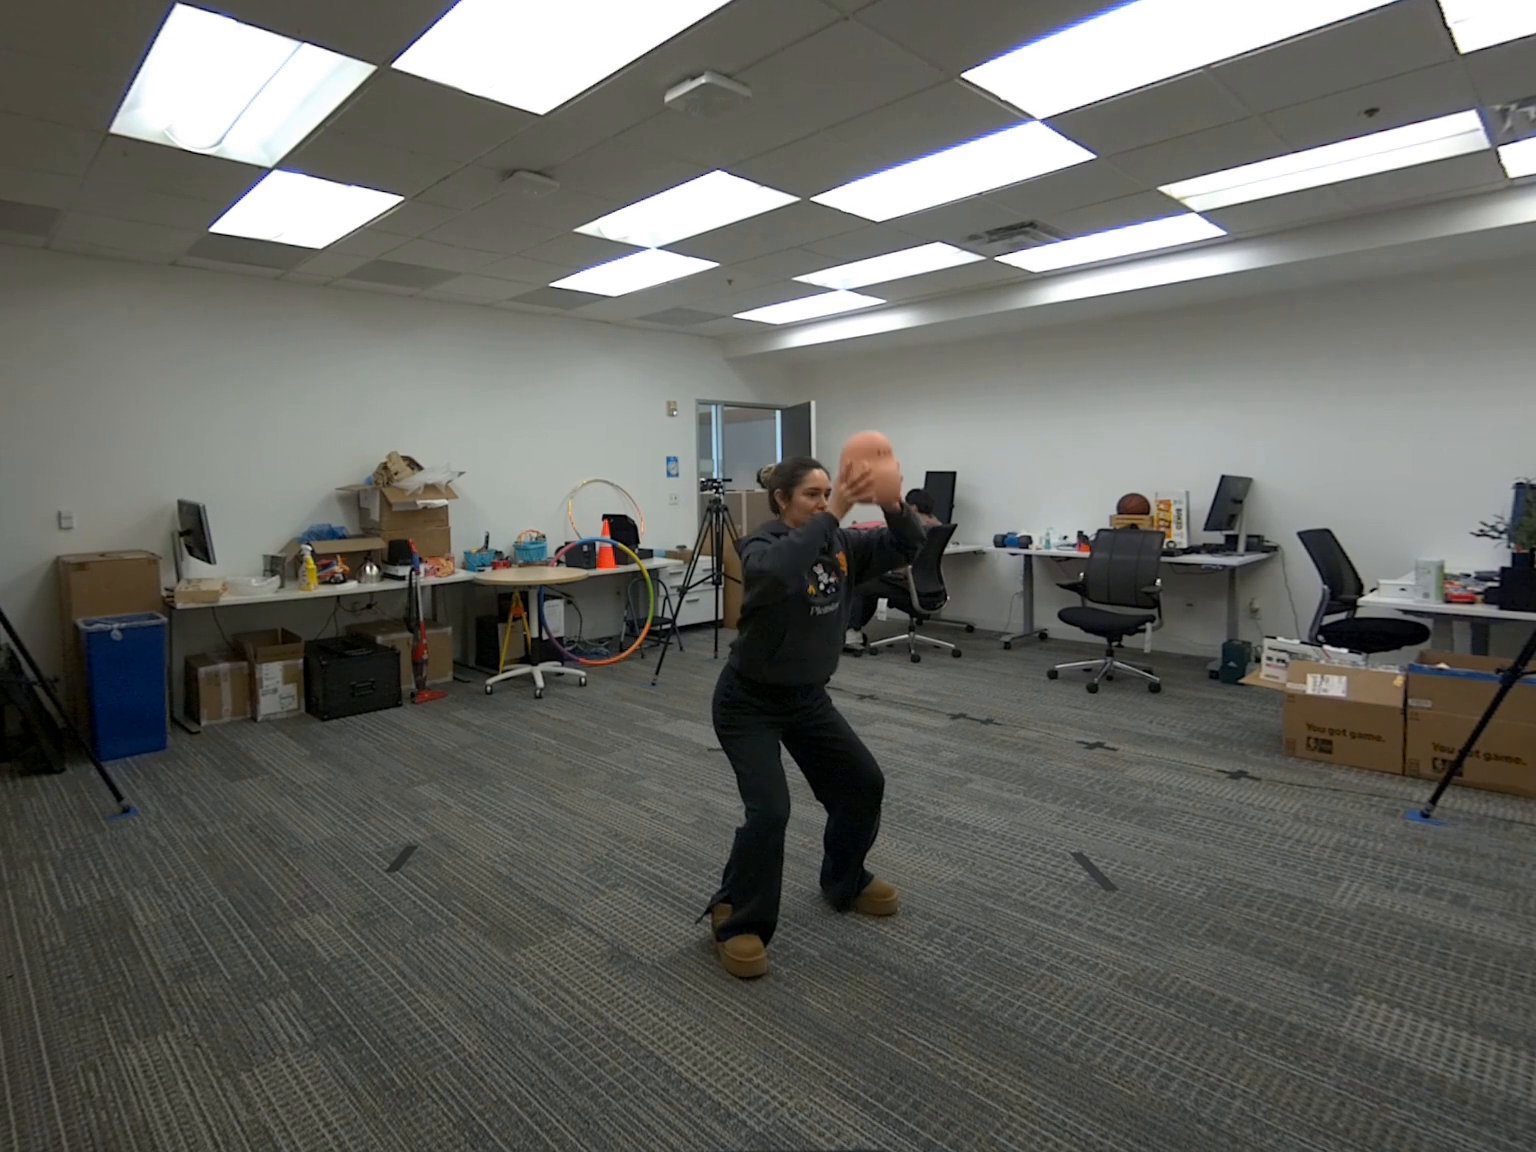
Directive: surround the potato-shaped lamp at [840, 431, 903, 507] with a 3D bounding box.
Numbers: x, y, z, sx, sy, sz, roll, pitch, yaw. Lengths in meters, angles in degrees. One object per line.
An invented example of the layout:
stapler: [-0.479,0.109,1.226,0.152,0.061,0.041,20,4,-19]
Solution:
potato-shaped lamp: [0.272,-0.320,2.346,0.162,0.196,0.176,-3,15,-18]
